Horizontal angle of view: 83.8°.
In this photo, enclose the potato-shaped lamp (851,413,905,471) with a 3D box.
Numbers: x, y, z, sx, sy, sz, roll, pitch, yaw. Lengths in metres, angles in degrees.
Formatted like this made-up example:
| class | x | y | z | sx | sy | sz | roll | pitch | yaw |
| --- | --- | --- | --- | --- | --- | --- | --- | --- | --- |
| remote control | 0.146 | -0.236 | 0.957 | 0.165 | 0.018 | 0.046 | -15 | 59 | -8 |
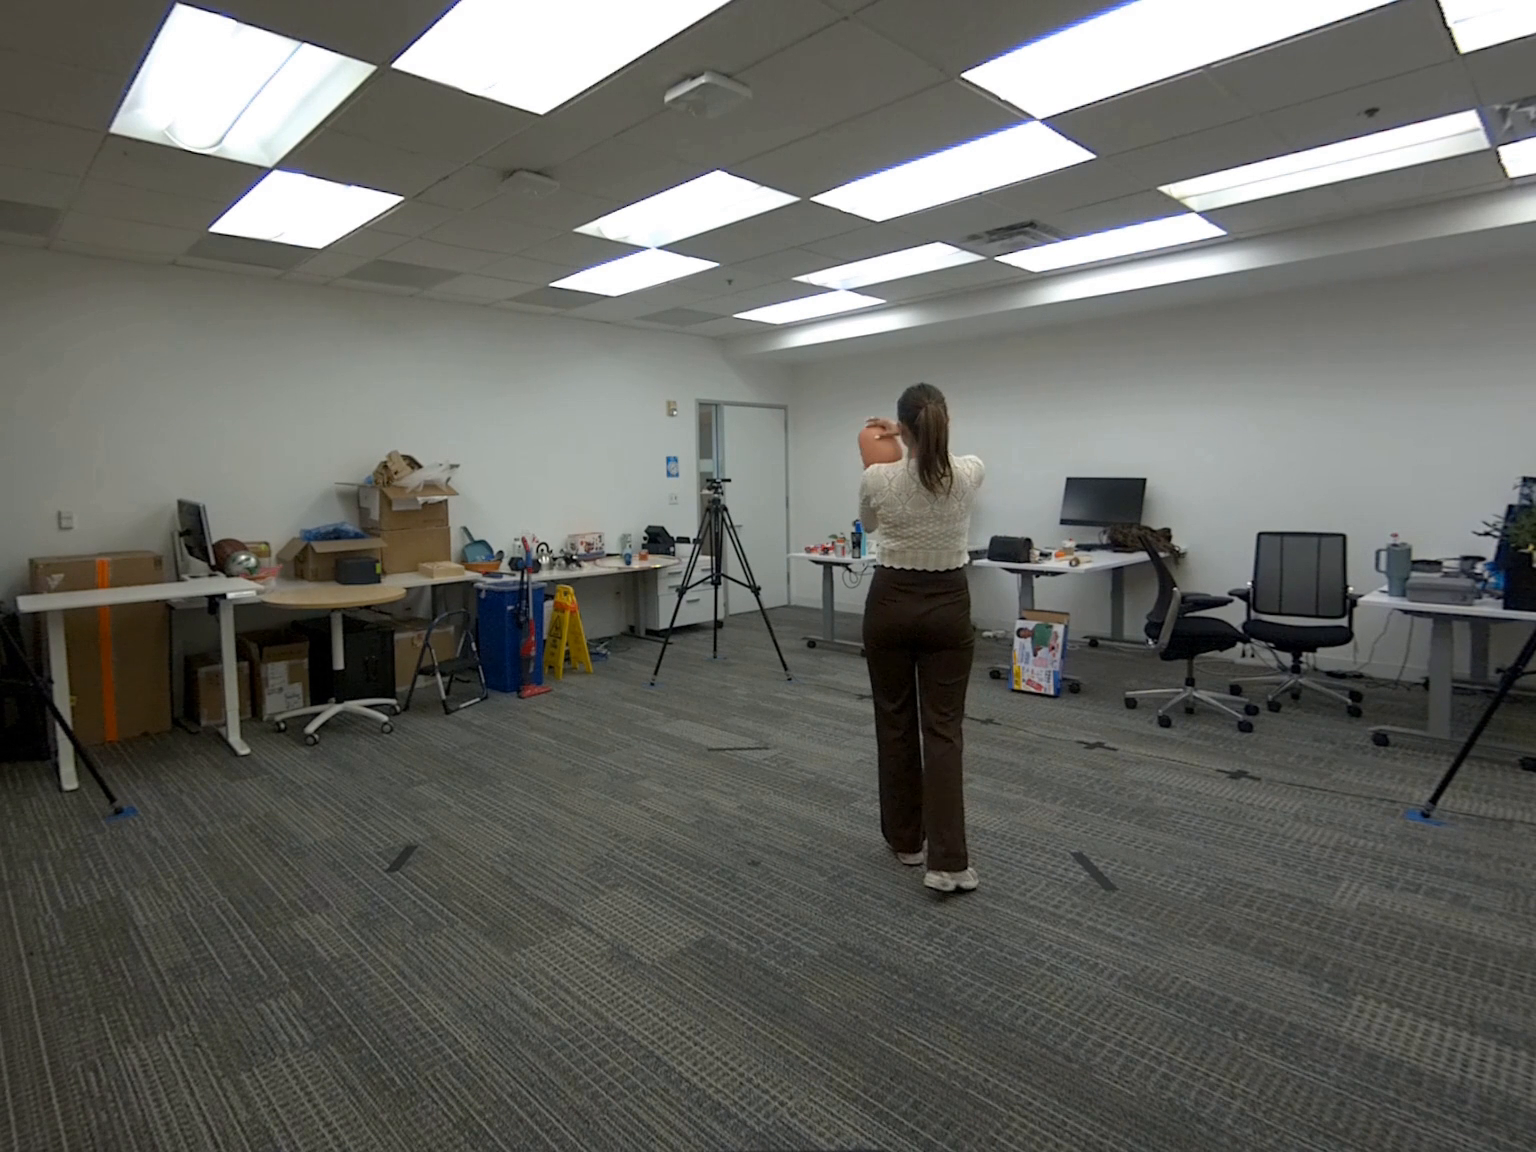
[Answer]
| class | x | y | z | sx | sy | sz | roll | pitch | yaw |
| --- | --- | --- | --- | --- | --- | --- | --- | --- | --- |
| potato-shaped lamp | 0.468 | -0.533 | 3.478 | 0.171 | 0.198 | 0.165 | -19 | 0 | -7 |
